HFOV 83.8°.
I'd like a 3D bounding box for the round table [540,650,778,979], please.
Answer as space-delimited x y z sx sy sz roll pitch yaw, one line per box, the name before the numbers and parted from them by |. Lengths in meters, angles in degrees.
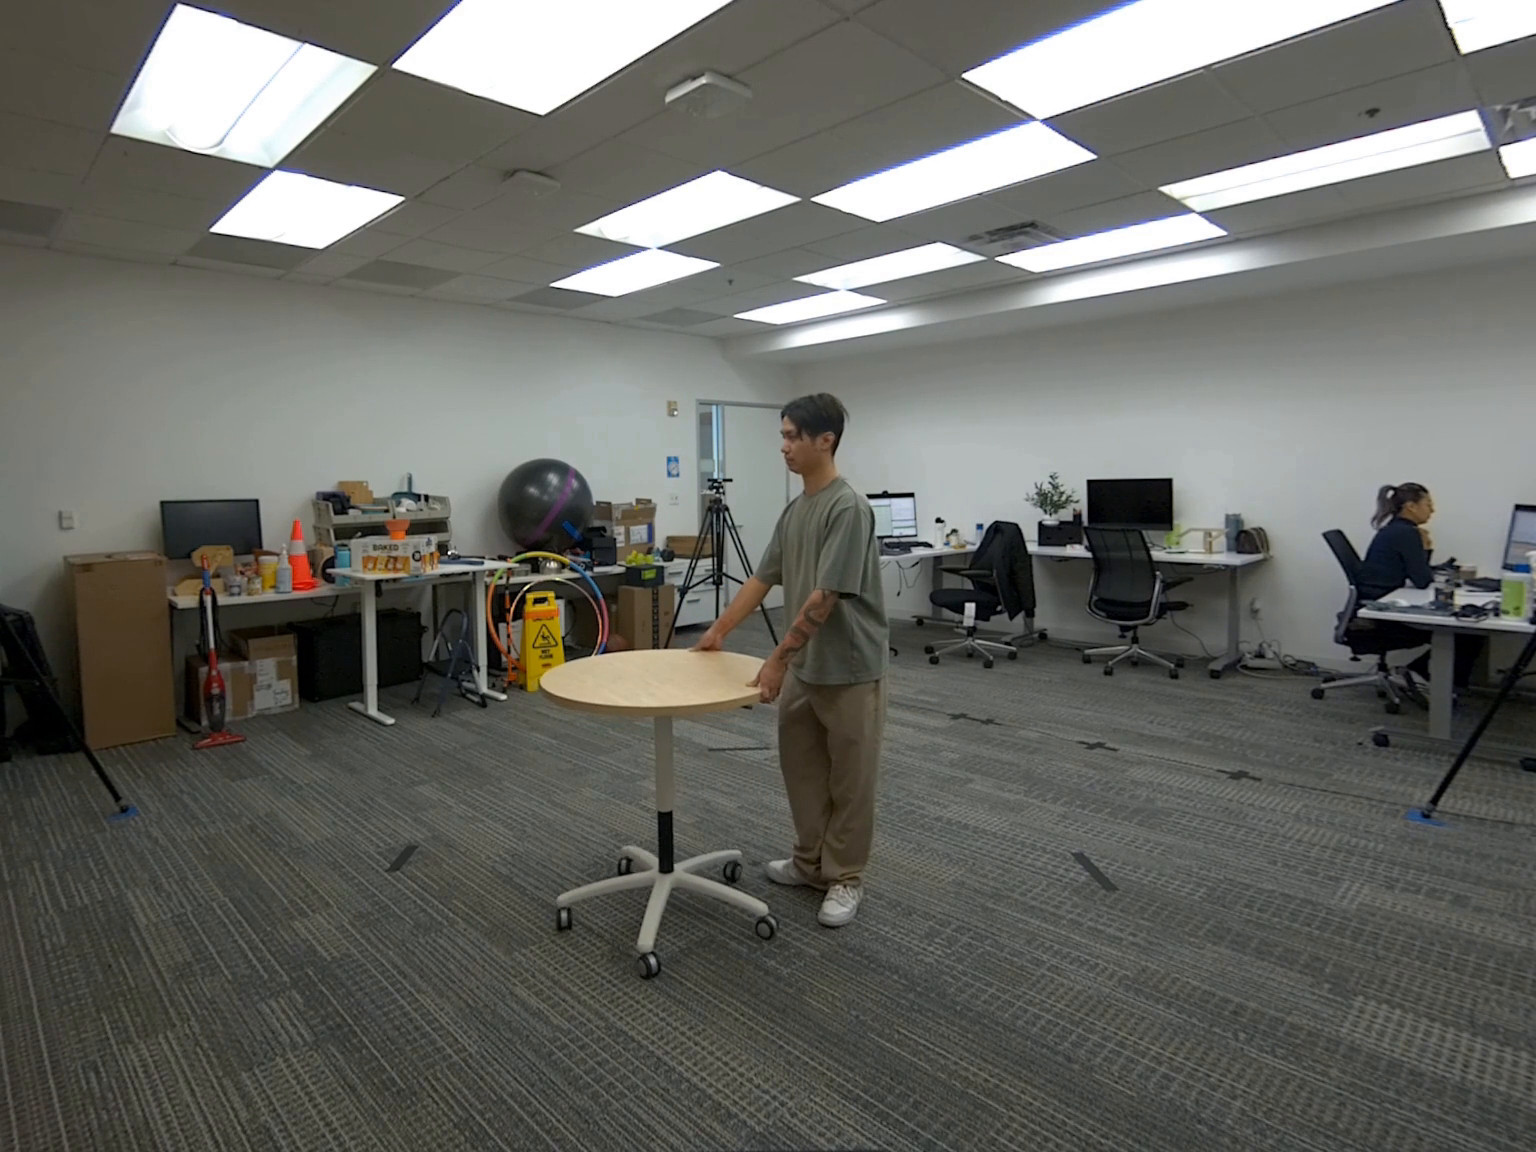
round table | -0.338 0.699 2.734 0.784 0.783 0.789 0 5 -2
